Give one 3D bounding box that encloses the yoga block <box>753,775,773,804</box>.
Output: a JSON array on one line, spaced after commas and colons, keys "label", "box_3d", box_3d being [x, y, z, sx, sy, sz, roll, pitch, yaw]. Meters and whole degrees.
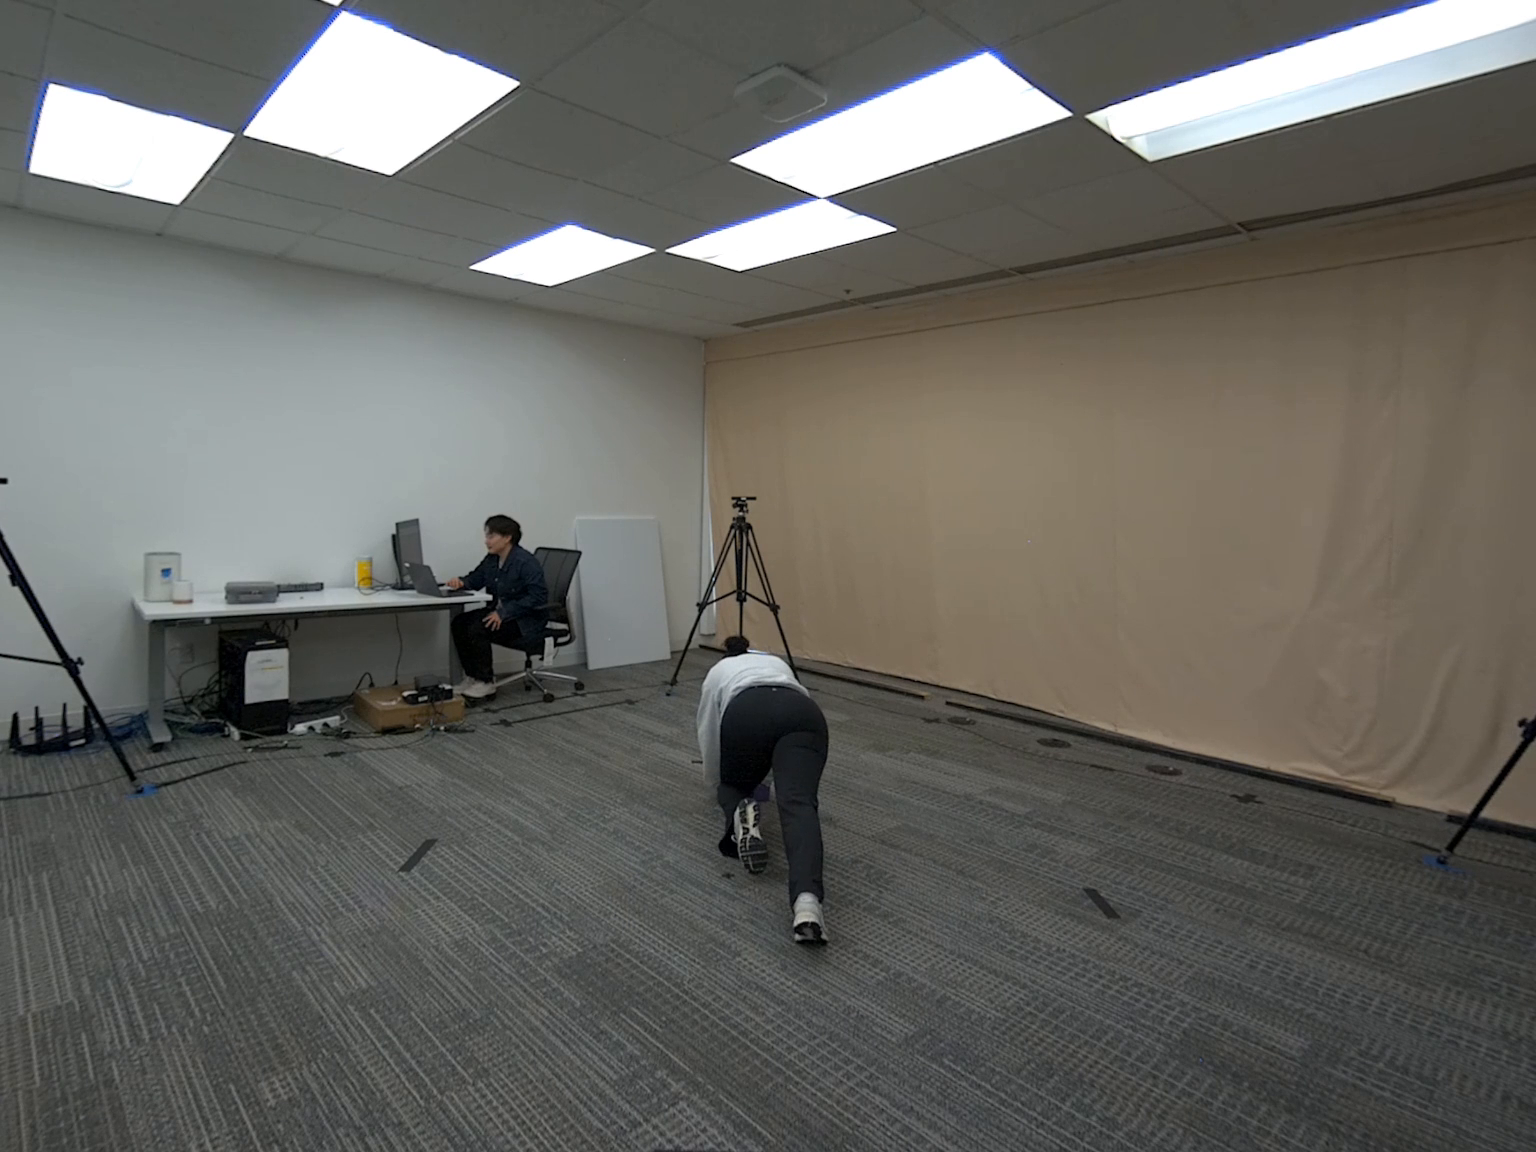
[{"label": "yoga block", "box_3d": [-0.131, 1.009, 3.950, 0.227, 0.076, 0.151, 0, 3, -12]}]
